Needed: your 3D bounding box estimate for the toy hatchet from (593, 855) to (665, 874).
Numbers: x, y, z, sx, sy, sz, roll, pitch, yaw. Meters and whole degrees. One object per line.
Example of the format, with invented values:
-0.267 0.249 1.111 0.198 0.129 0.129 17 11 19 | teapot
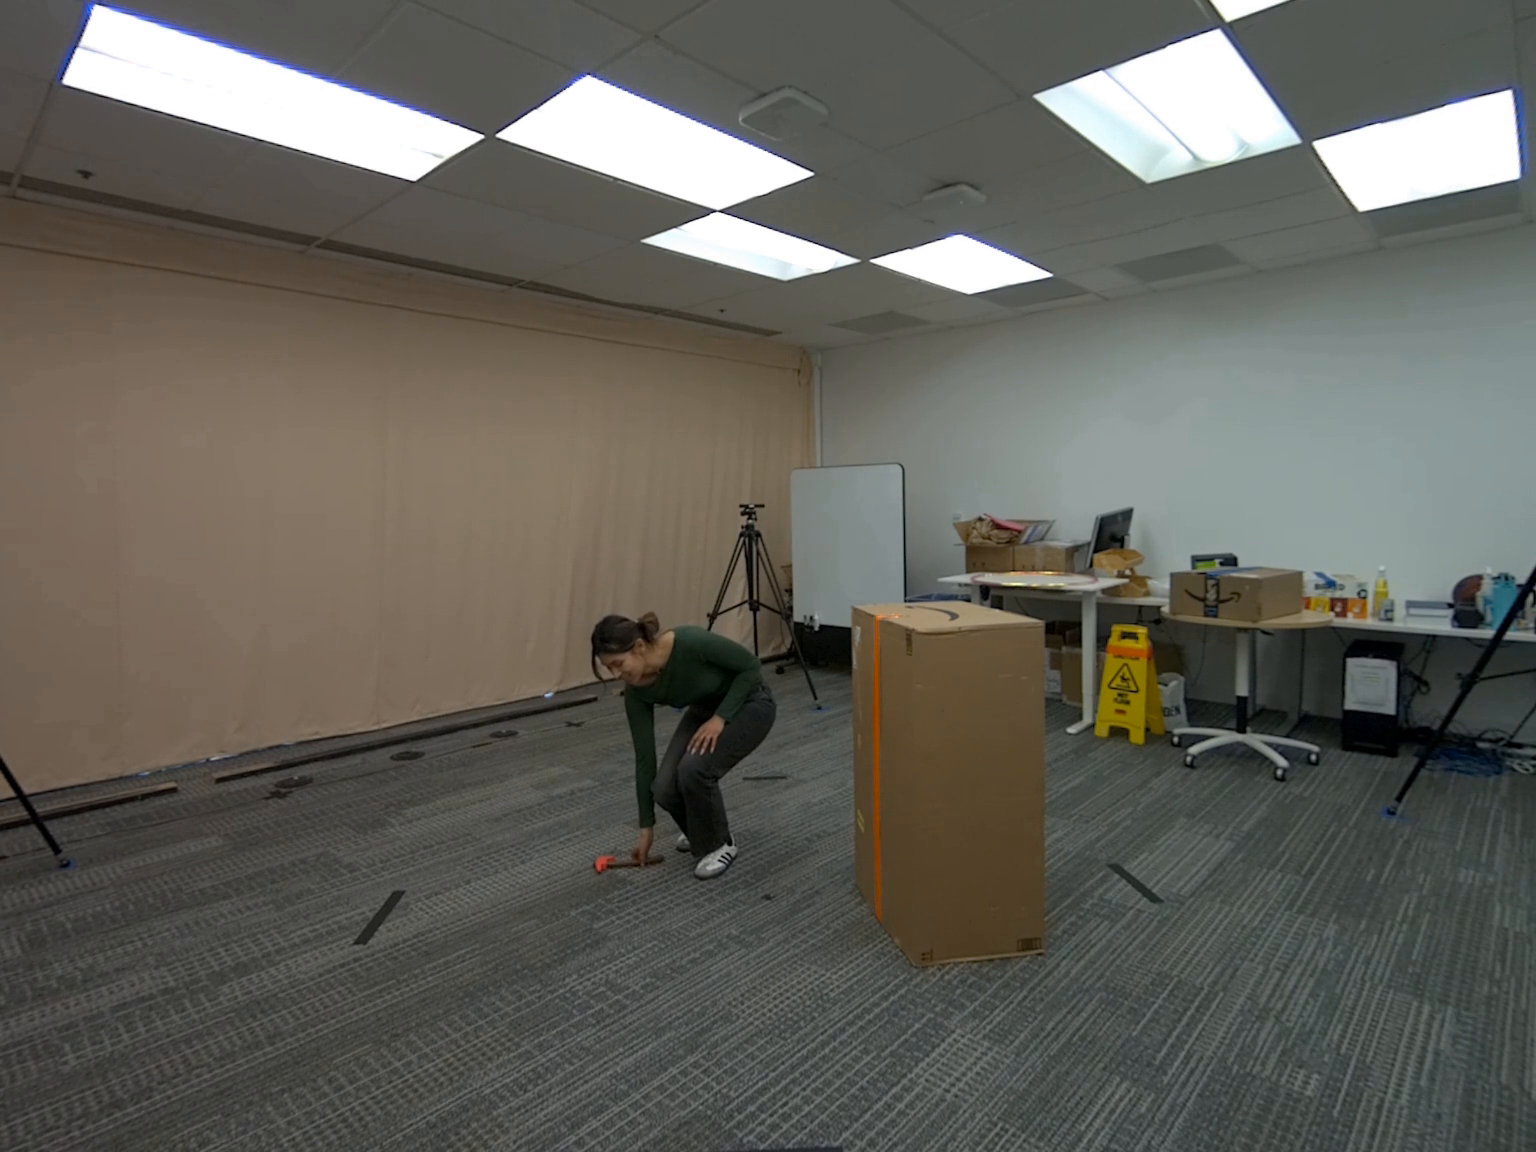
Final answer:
-0.552 1.110 3.297 0.265 0.029 0.134 -5 3 -21 | toy hatchet
